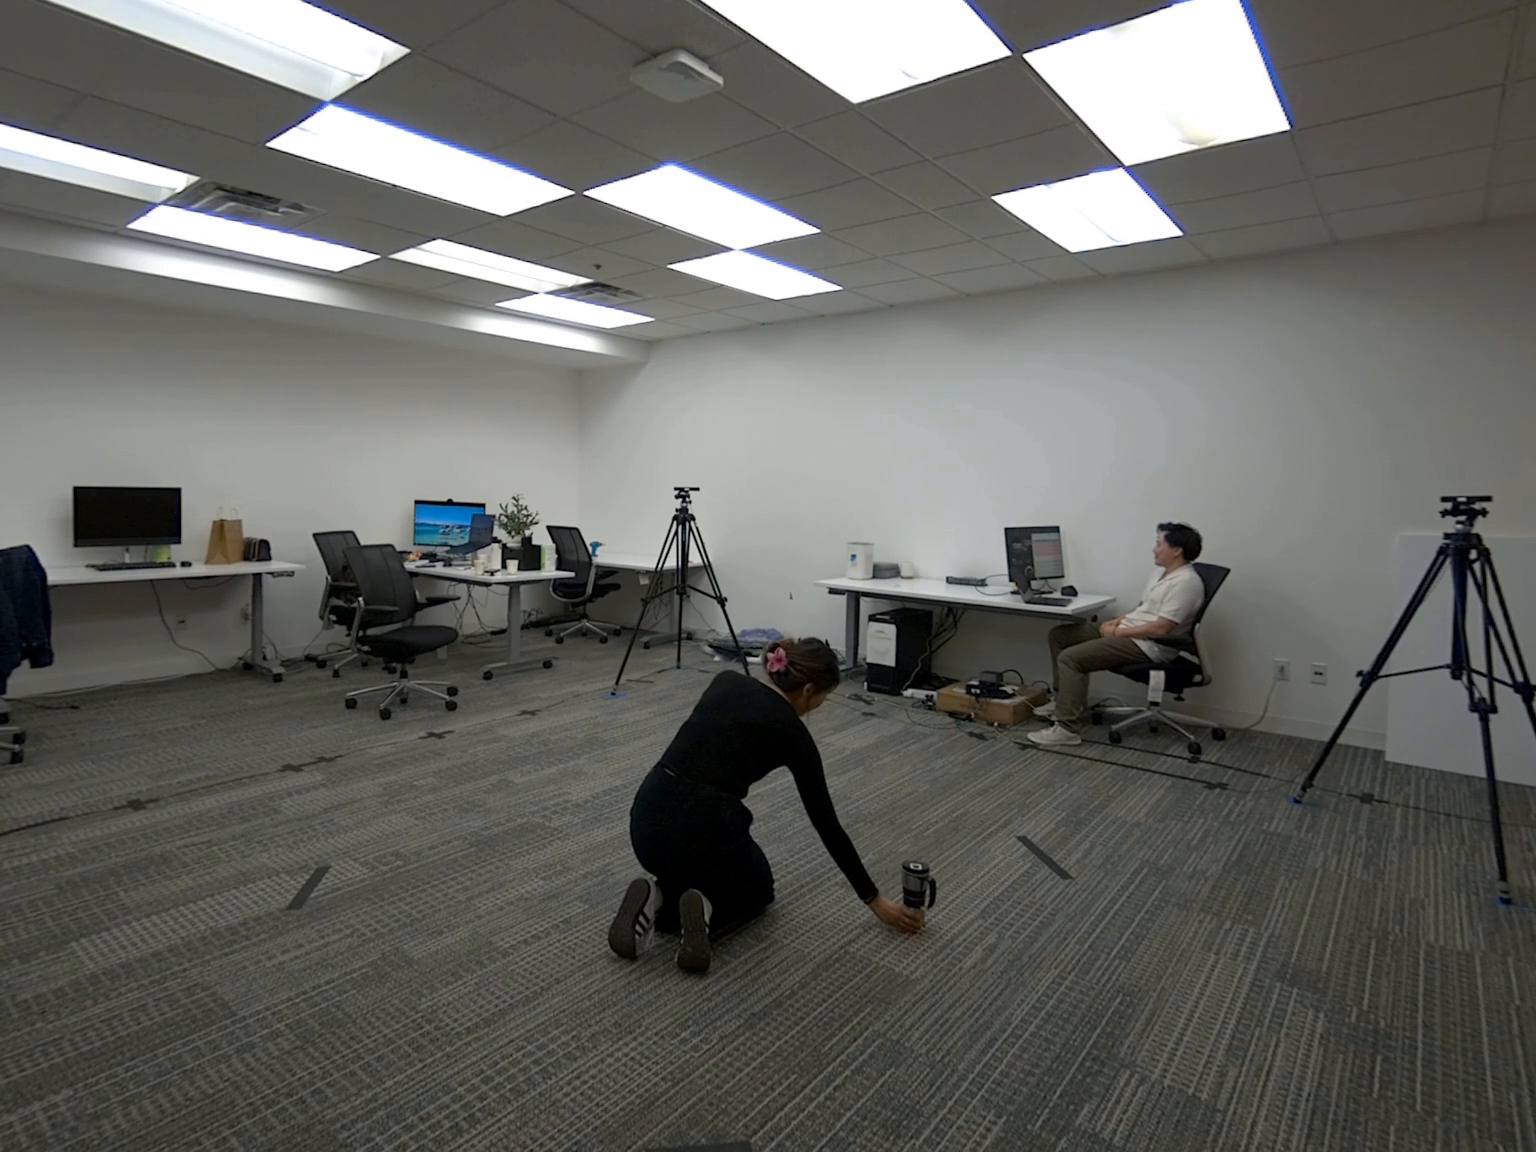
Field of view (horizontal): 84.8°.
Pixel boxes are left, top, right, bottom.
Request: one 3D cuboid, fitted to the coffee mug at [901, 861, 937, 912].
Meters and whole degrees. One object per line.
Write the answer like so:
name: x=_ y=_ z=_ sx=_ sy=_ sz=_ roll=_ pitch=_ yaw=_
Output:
coffee mug: x=0.470 y=1.028 z=2.697 sx=0.086 sy=0.202 sz=0.124 roll=1 pitch=3 yaw=-16
